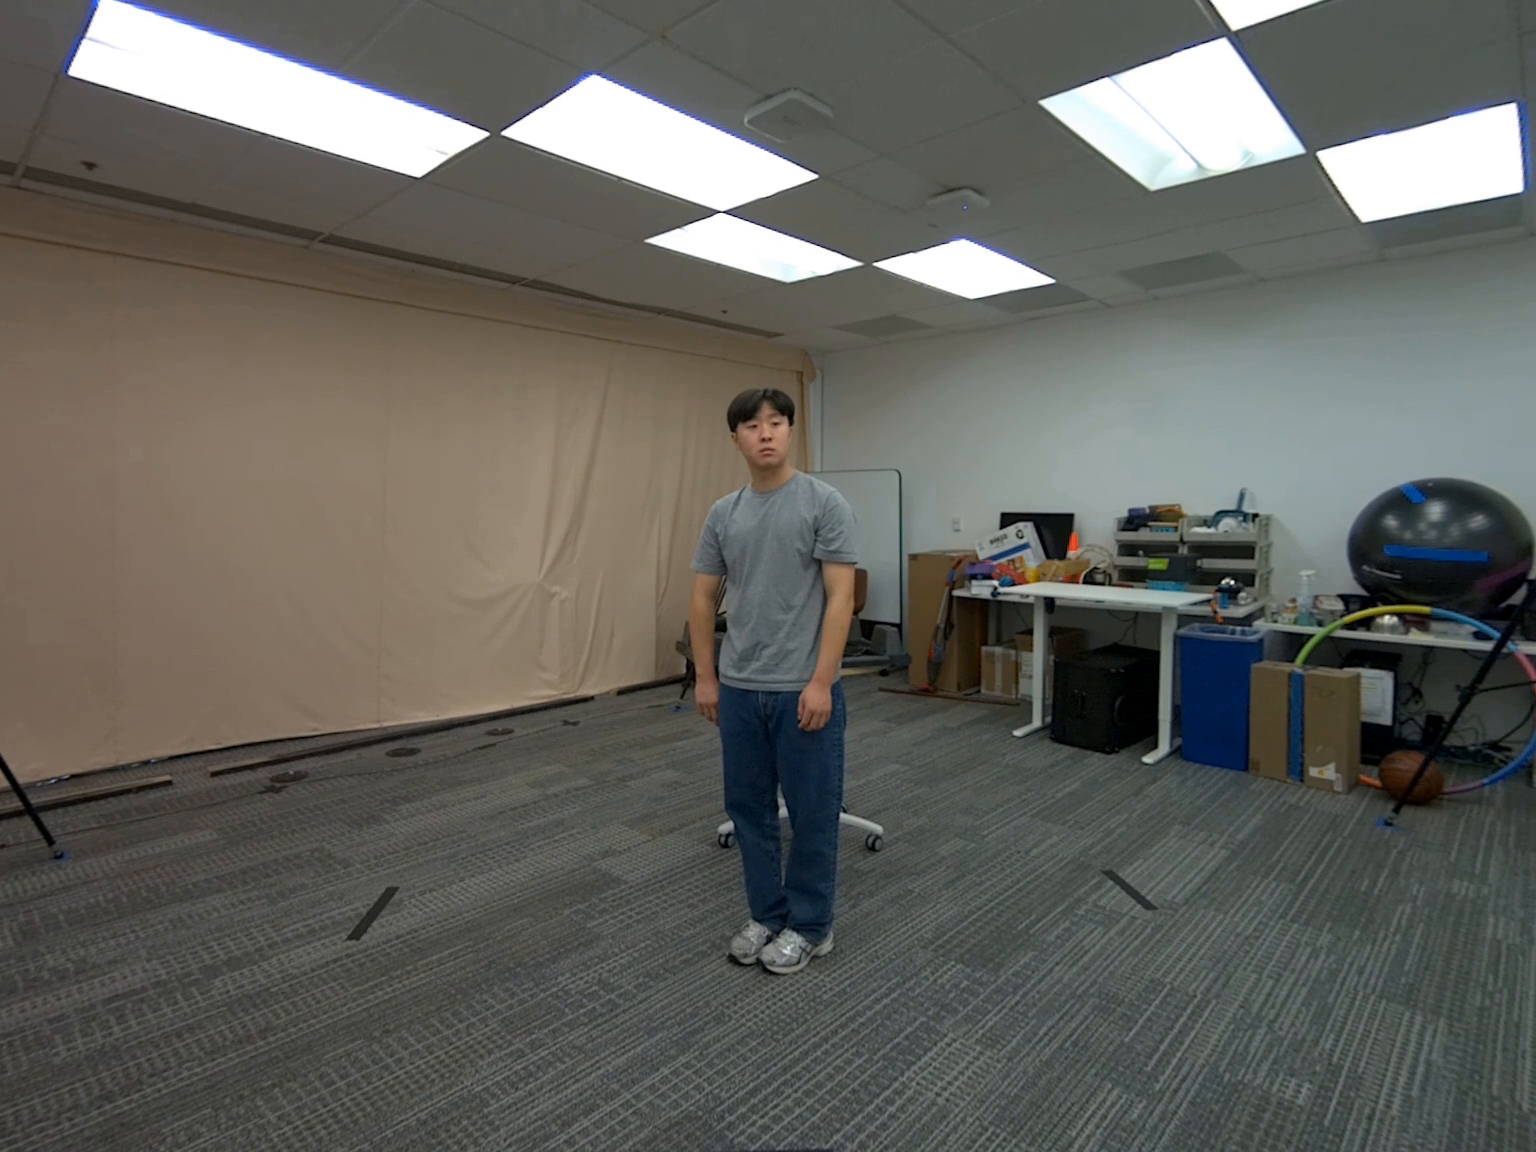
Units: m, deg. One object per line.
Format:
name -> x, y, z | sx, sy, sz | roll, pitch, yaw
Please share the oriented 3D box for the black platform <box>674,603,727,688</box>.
black platform -> 0.081, 0.262, 3.375 | 0.791, 0.143, 0.617 | -2, 4, -18
